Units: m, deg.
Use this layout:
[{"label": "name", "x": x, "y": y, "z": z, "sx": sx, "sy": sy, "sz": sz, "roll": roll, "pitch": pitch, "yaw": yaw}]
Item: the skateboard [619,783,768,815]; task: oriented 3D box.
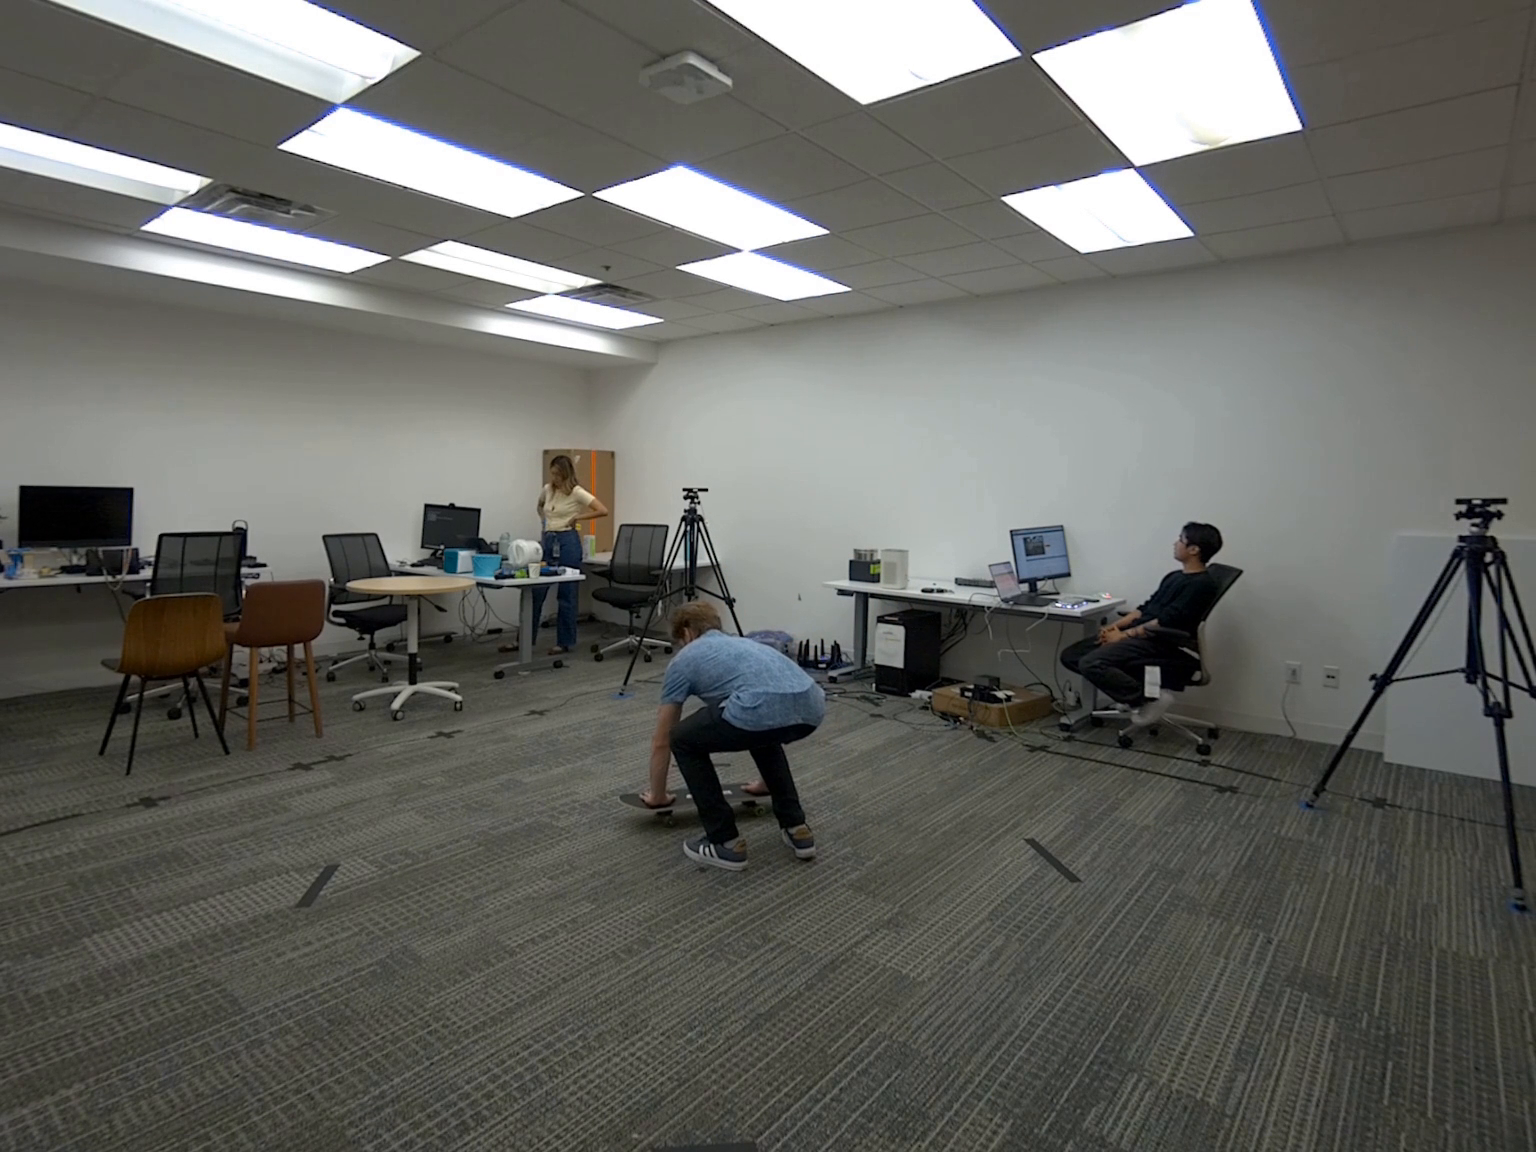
[{"label": "skateboard", "x": -0.266, "y": 0.959, "z": 3.627, "sx": 0.771, "sy": 0.110, "sz": 0.197, "roll": -1, "pitch": 3, "yaw": -19}]
